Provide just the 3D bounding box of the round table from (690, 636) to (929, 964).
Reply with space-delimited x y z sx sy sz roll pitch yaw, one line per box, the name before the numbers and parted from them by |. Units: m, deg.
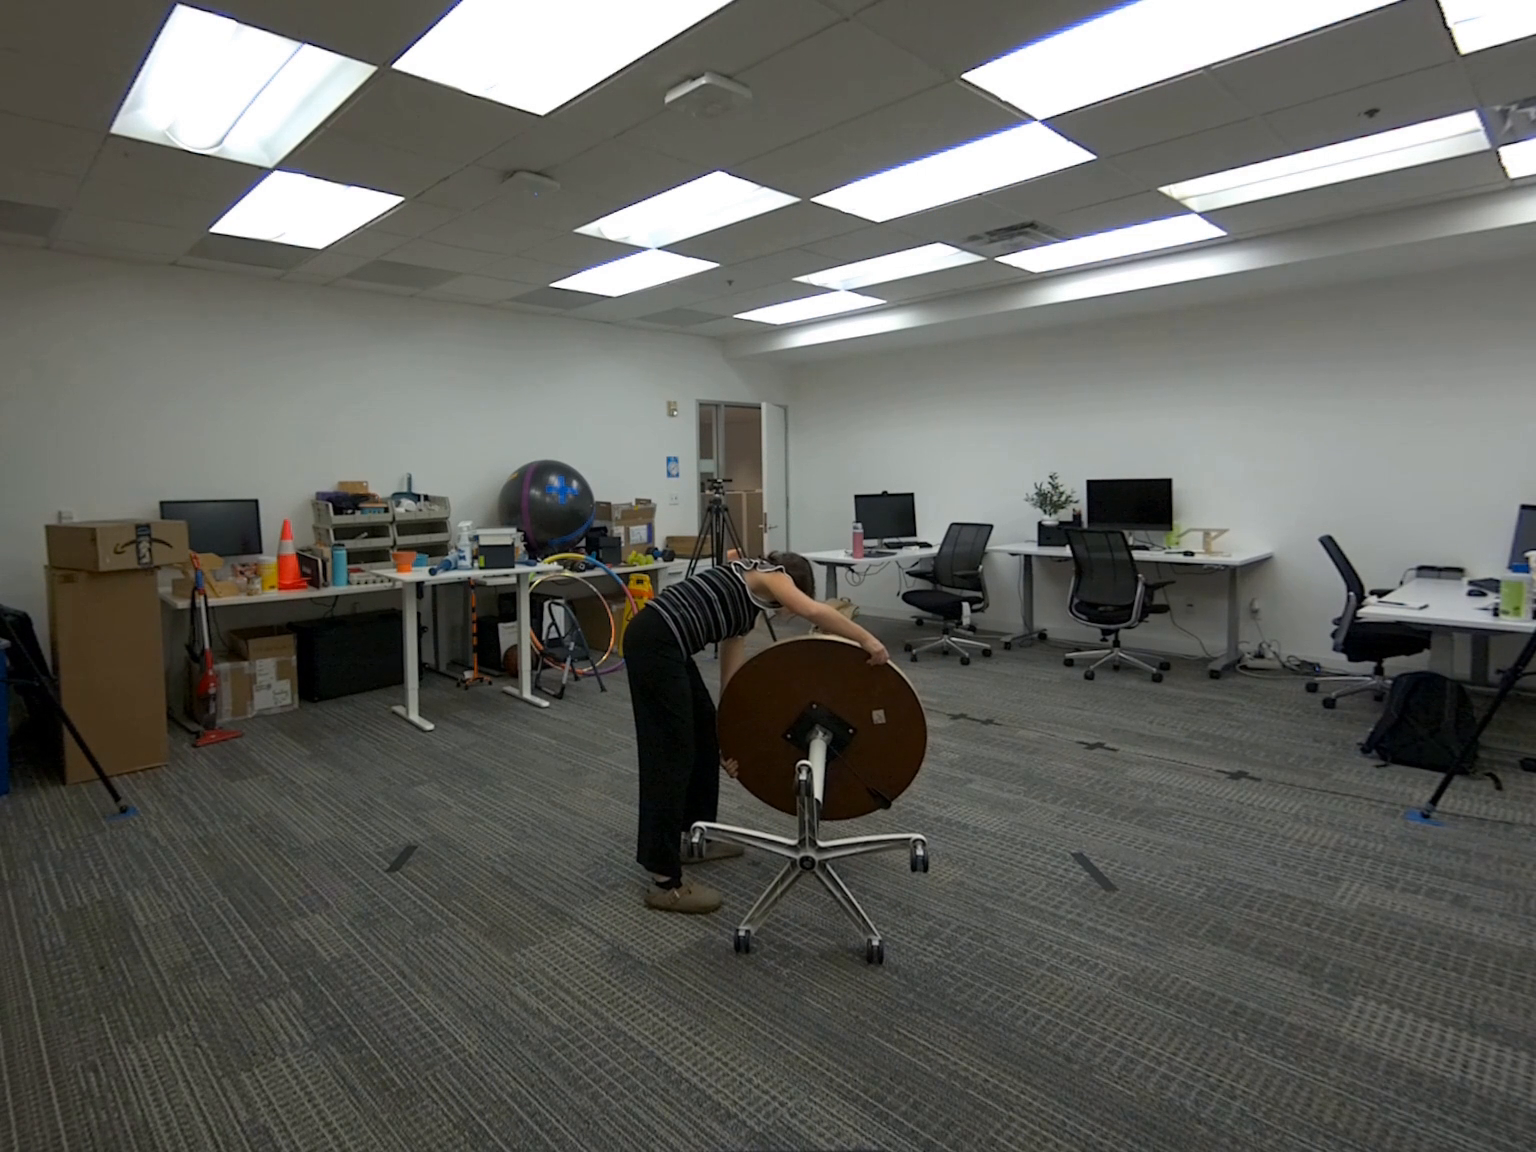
round table | 0.156 0.715 2.757 0.771 0.750 0.802 0 21 8
